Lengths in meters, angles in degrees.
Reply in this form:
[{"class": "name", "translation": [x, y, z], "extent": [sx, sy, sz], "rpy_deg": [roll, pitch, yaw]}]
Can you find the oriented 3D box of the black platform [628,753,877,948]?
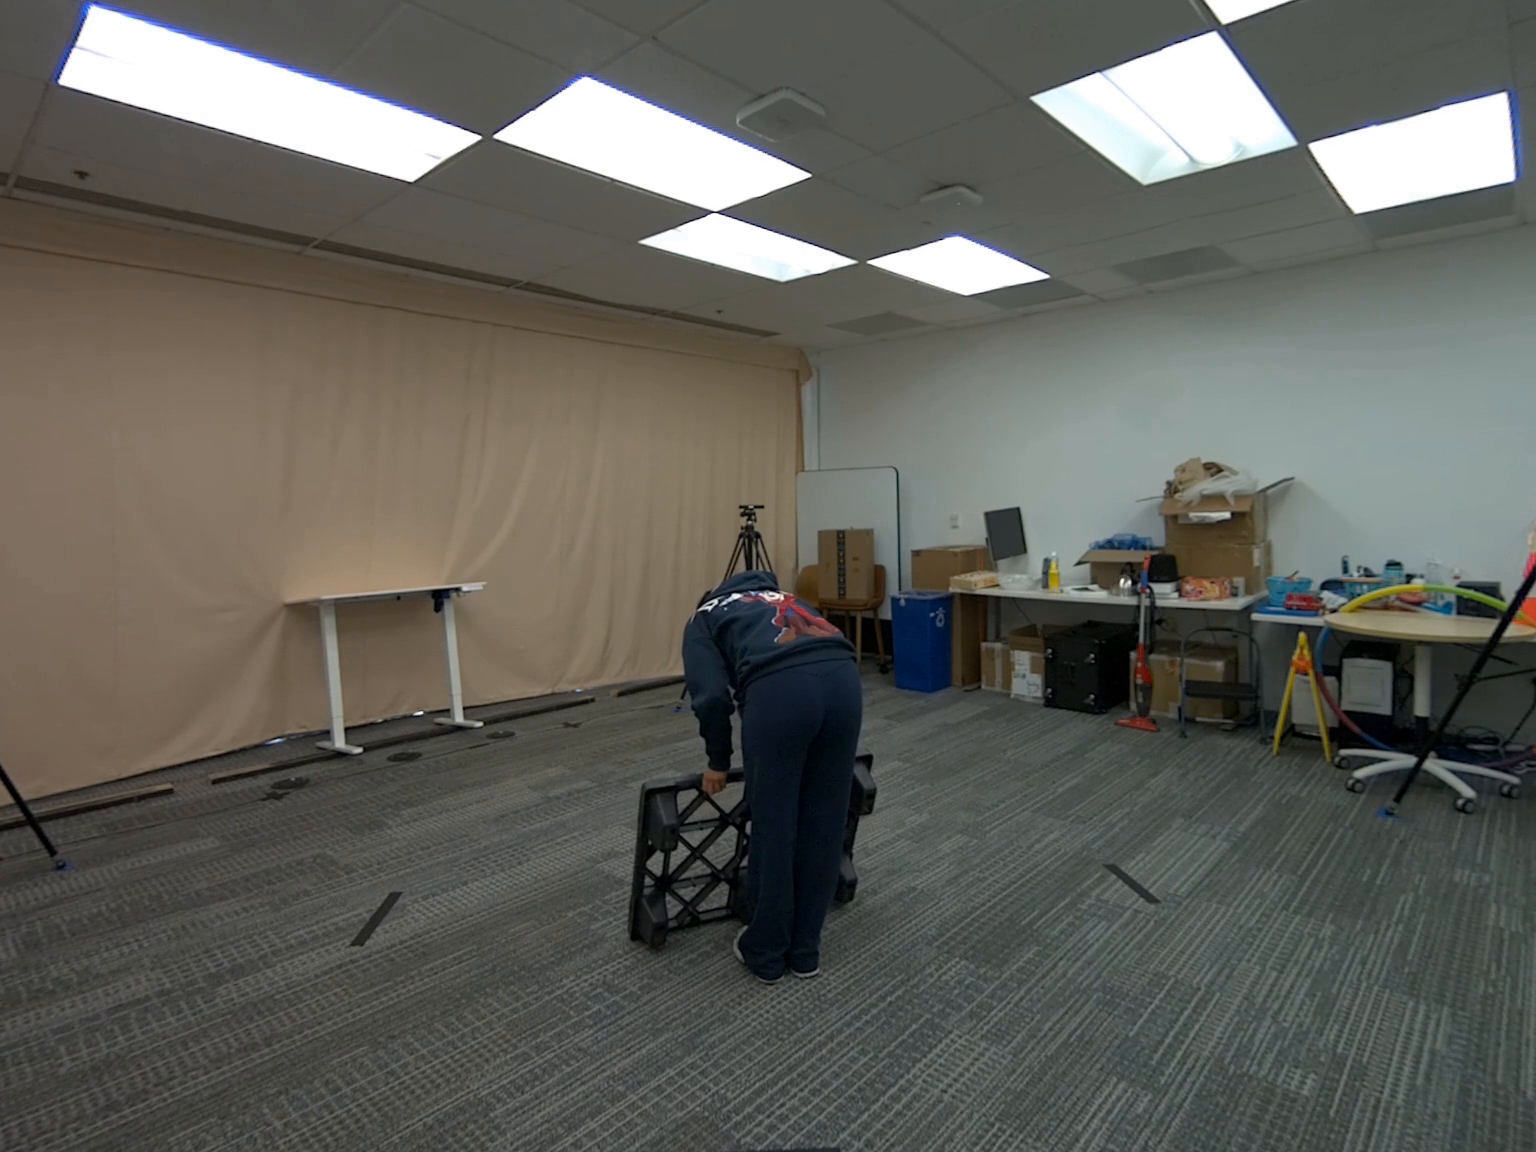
[{"class": "black platform", "translation": [-0.035, 0.897, 2.719], "extent": [0.788, 0.599, 0.148], "rpy_deg": [-3, 23, -22]}]
